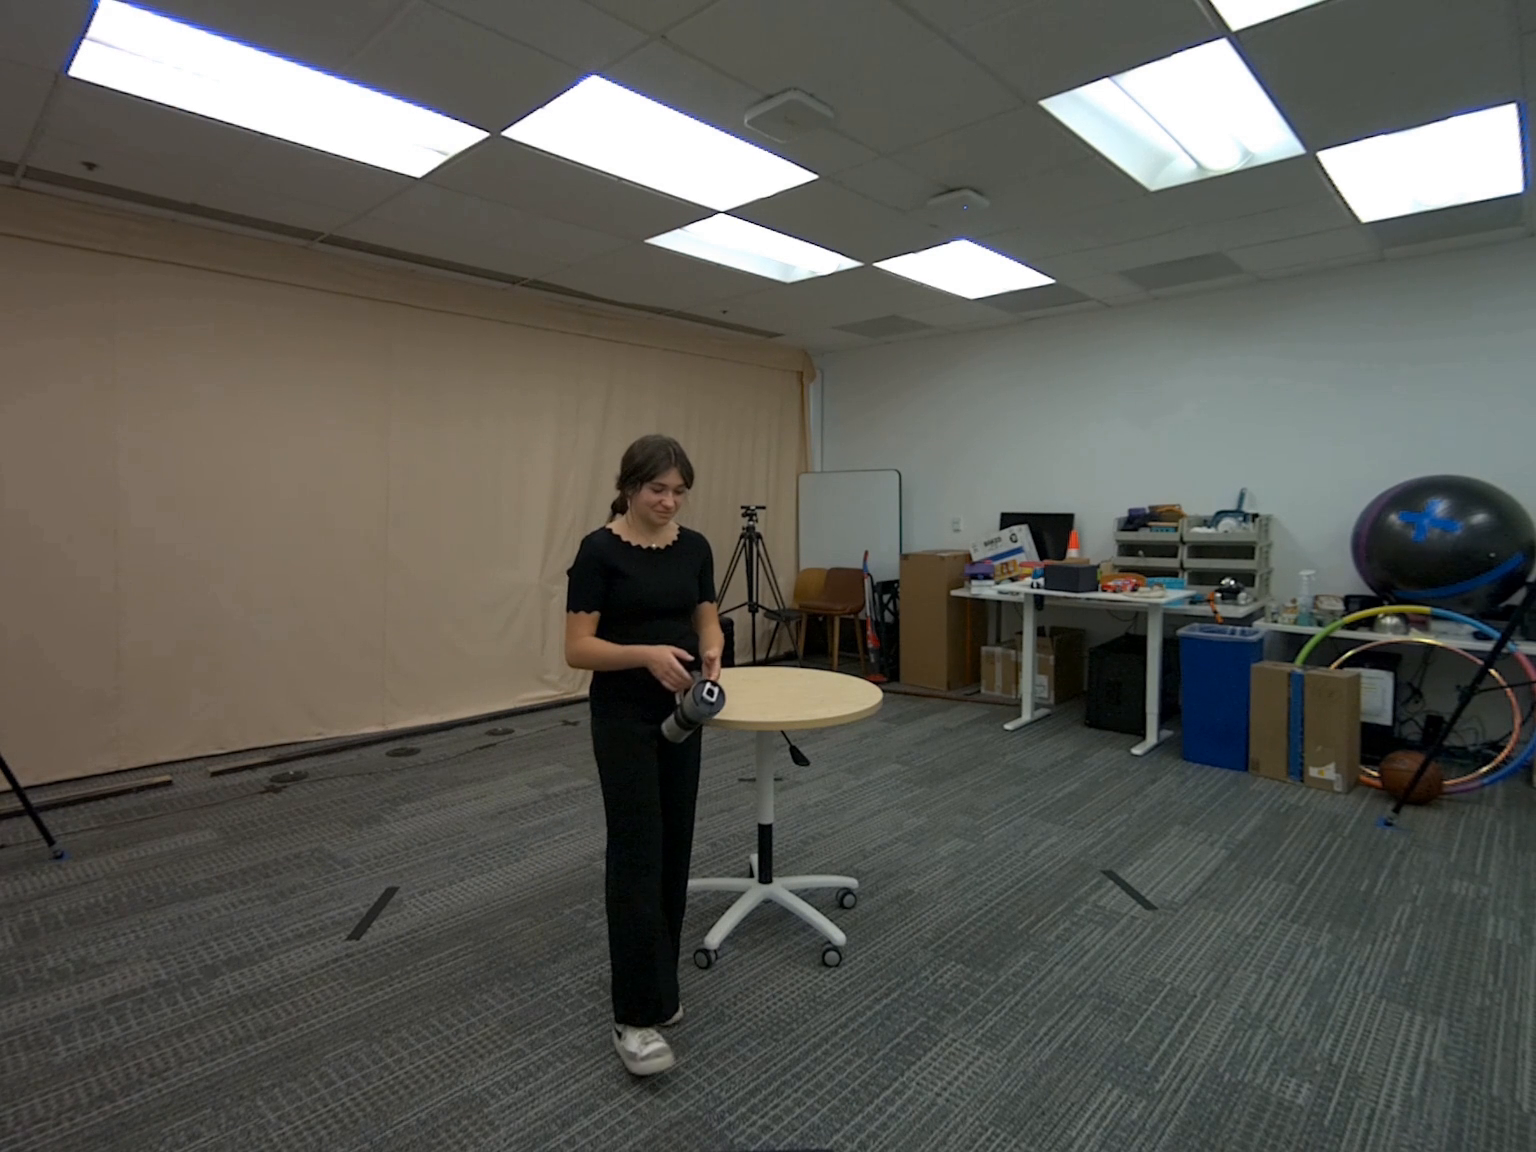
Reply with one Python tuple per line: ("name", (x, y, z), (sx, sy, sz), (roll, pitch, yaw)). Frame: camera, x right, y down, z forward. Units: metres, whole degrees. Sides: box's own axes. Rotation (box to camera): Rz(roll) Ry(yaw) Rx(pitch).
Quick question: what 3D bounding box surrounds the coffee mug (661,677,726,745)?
("coffee mug", (-0.183, 0.337, 2.081), (0.088, 0.203, 0.121), (34, 48, -1))
